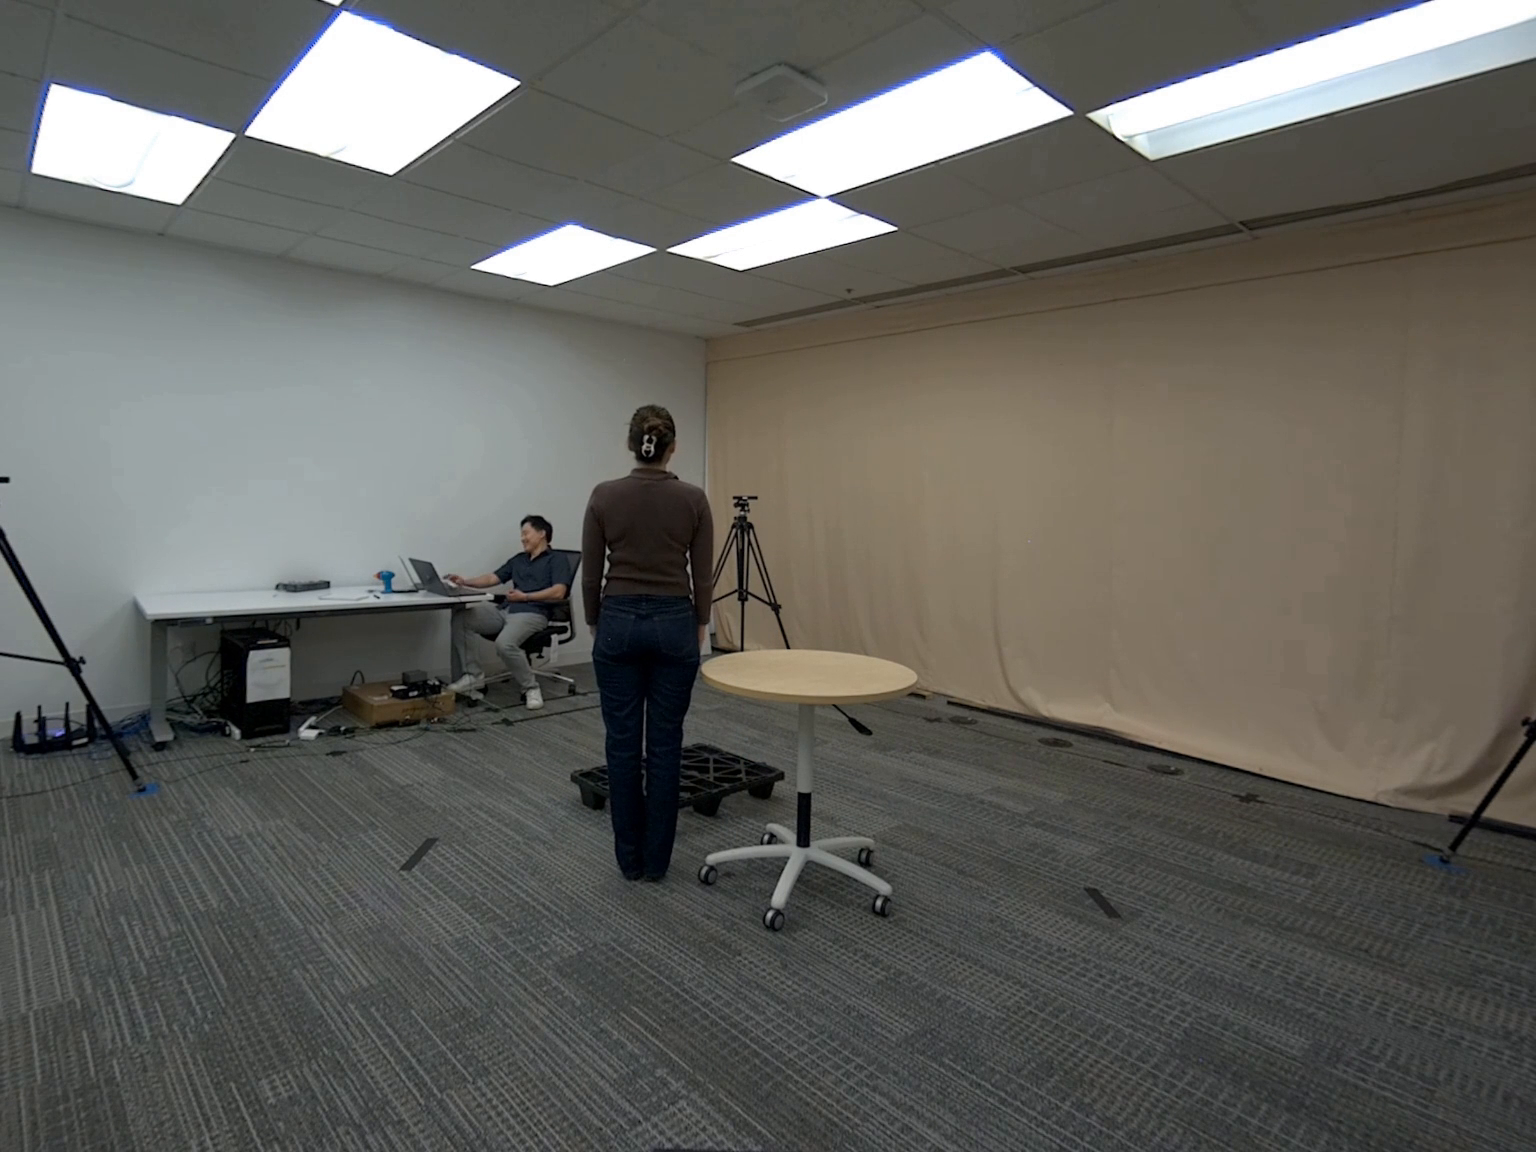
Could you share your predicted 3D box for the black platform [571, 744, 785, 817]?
[{"bbox_3d":[-0.411,0.965,3.855,0.787,0.143,0.621,-3,7,-44],"label":"black platform"}]
